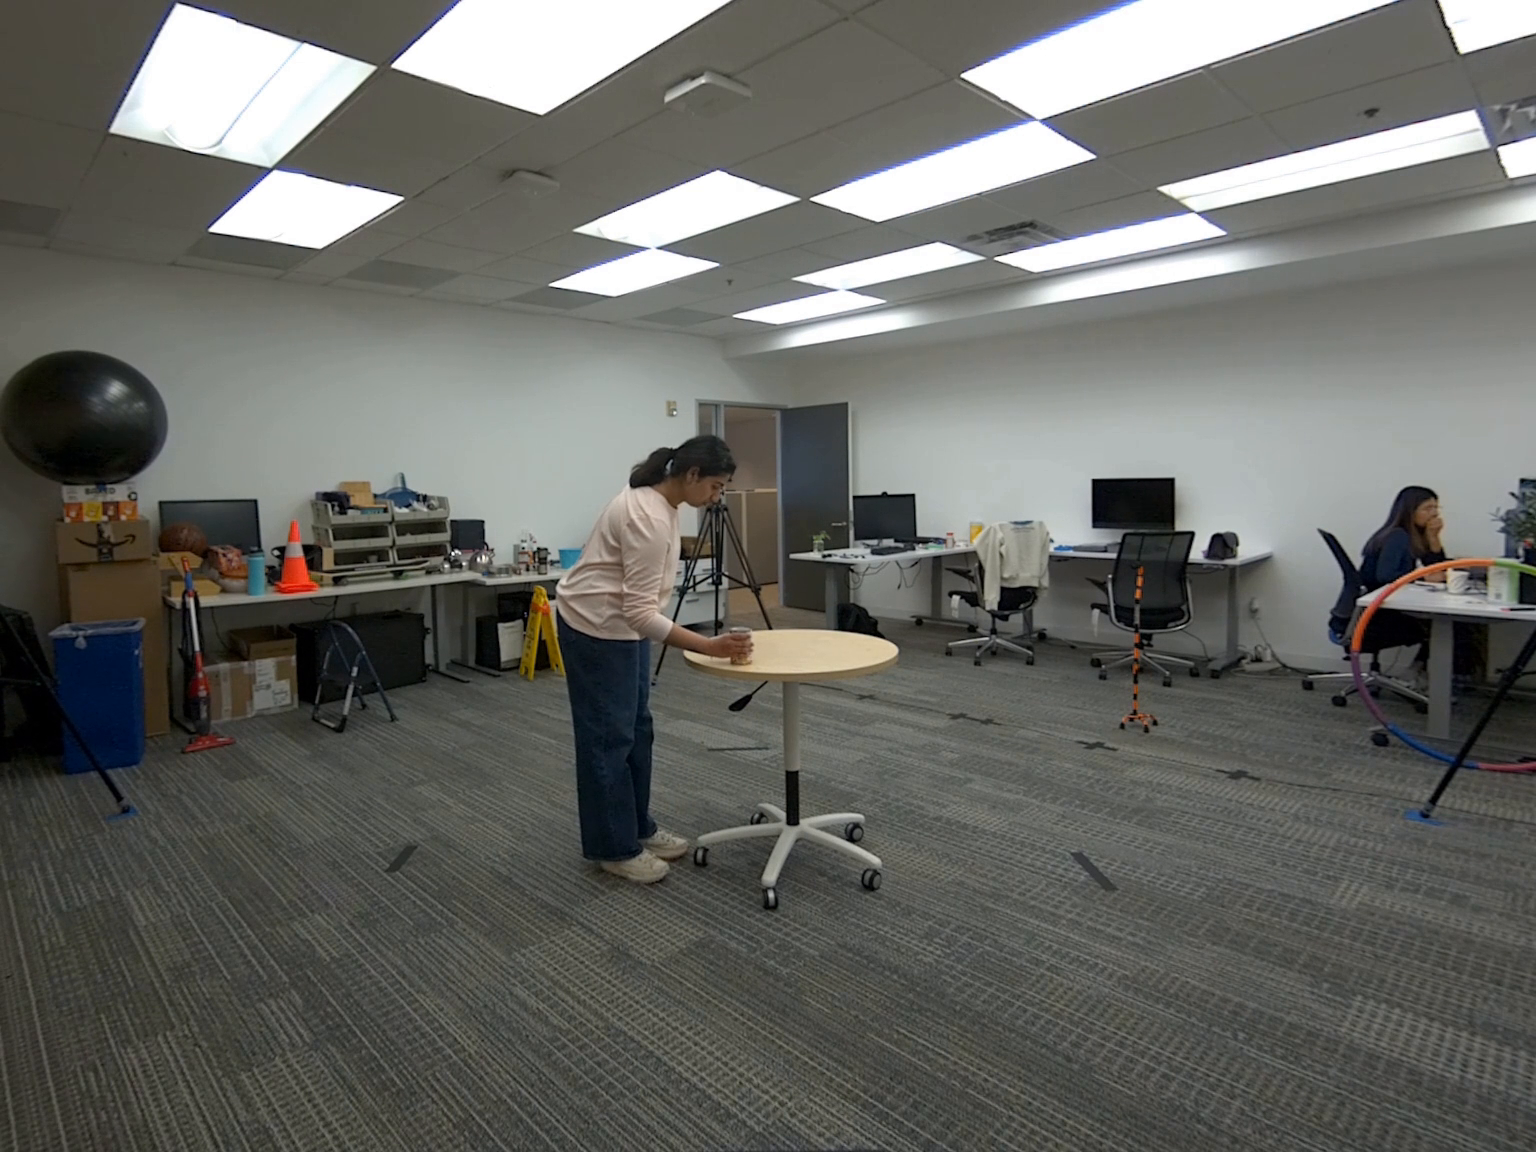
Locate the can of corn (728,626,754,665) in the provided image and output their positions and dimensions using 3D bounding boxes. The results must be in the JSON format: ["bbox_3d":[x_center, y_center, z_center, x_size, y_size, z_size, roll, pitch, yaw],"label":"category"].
[{"bbox_3d":[-0.096,0.229,2.855,0.074,0.110,0.075,-5,6,-1],"label":"can of corn"}]
